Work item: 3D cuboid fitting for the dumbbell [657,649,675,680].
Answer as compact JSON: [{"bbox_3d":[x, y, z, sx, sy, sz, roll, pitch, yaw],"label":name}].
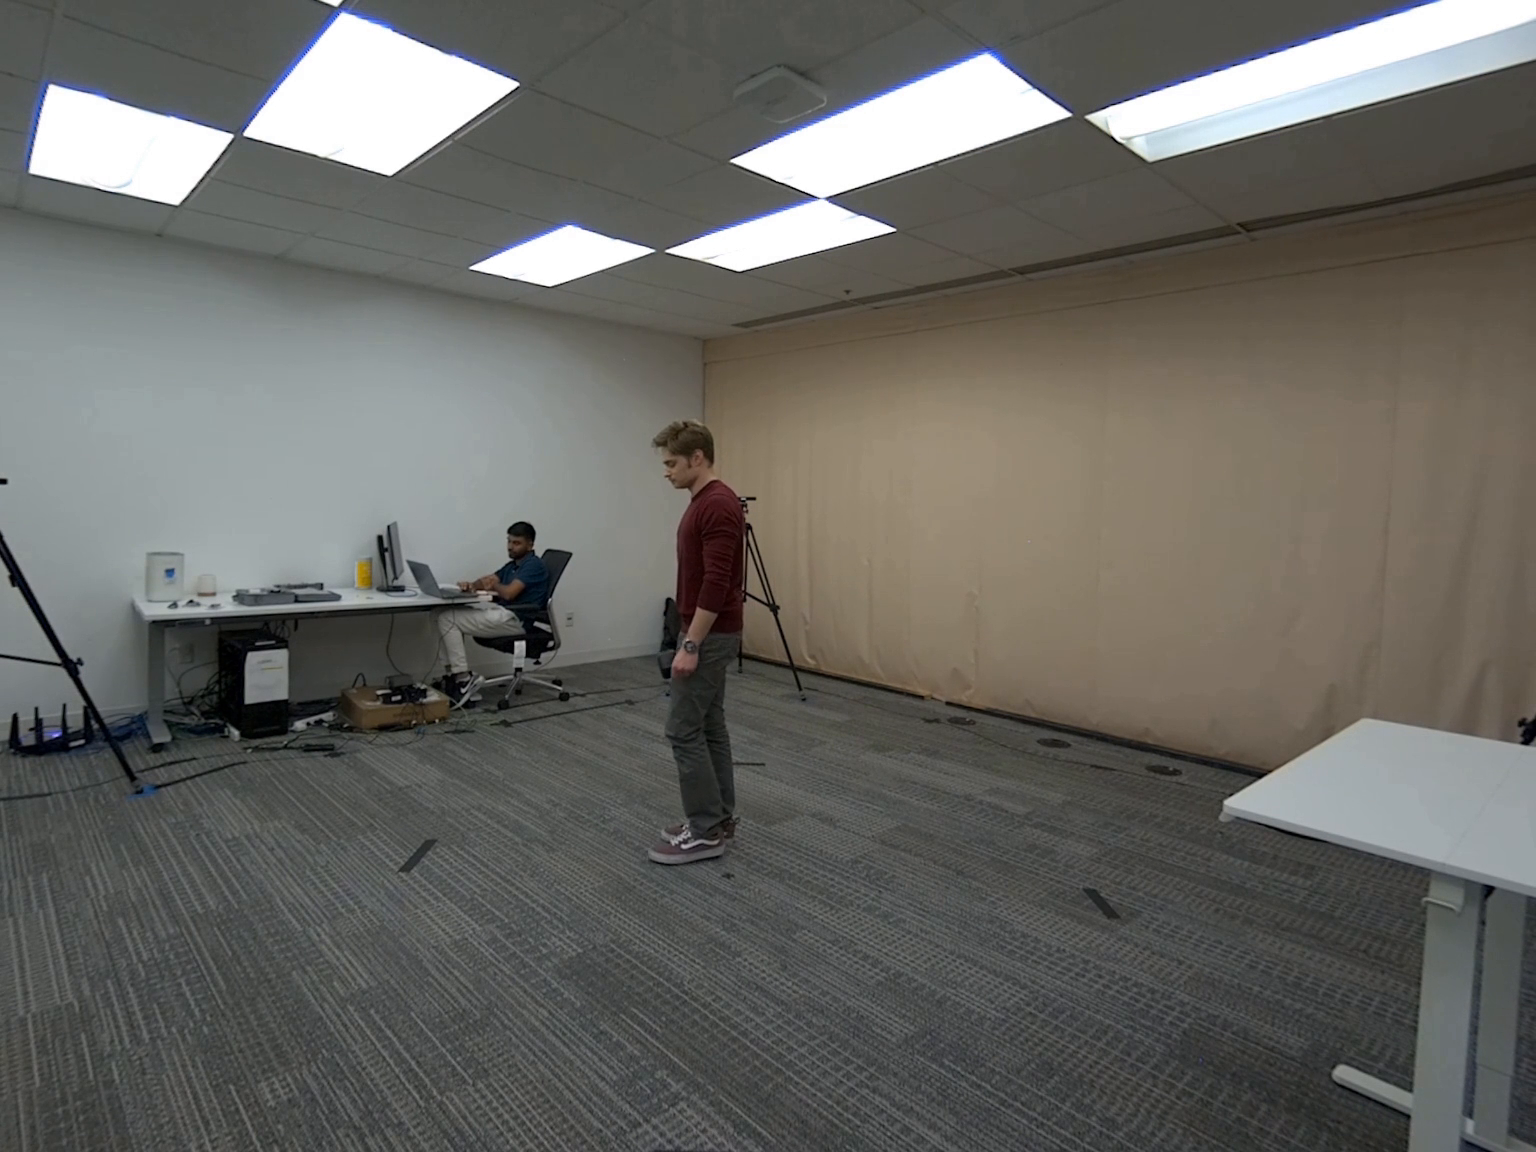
[{"bbox_3d":[-0.333,0.351,3.577,0.291,0.120,0.112,-15,37,-14],"label":"dumbbell"}]
